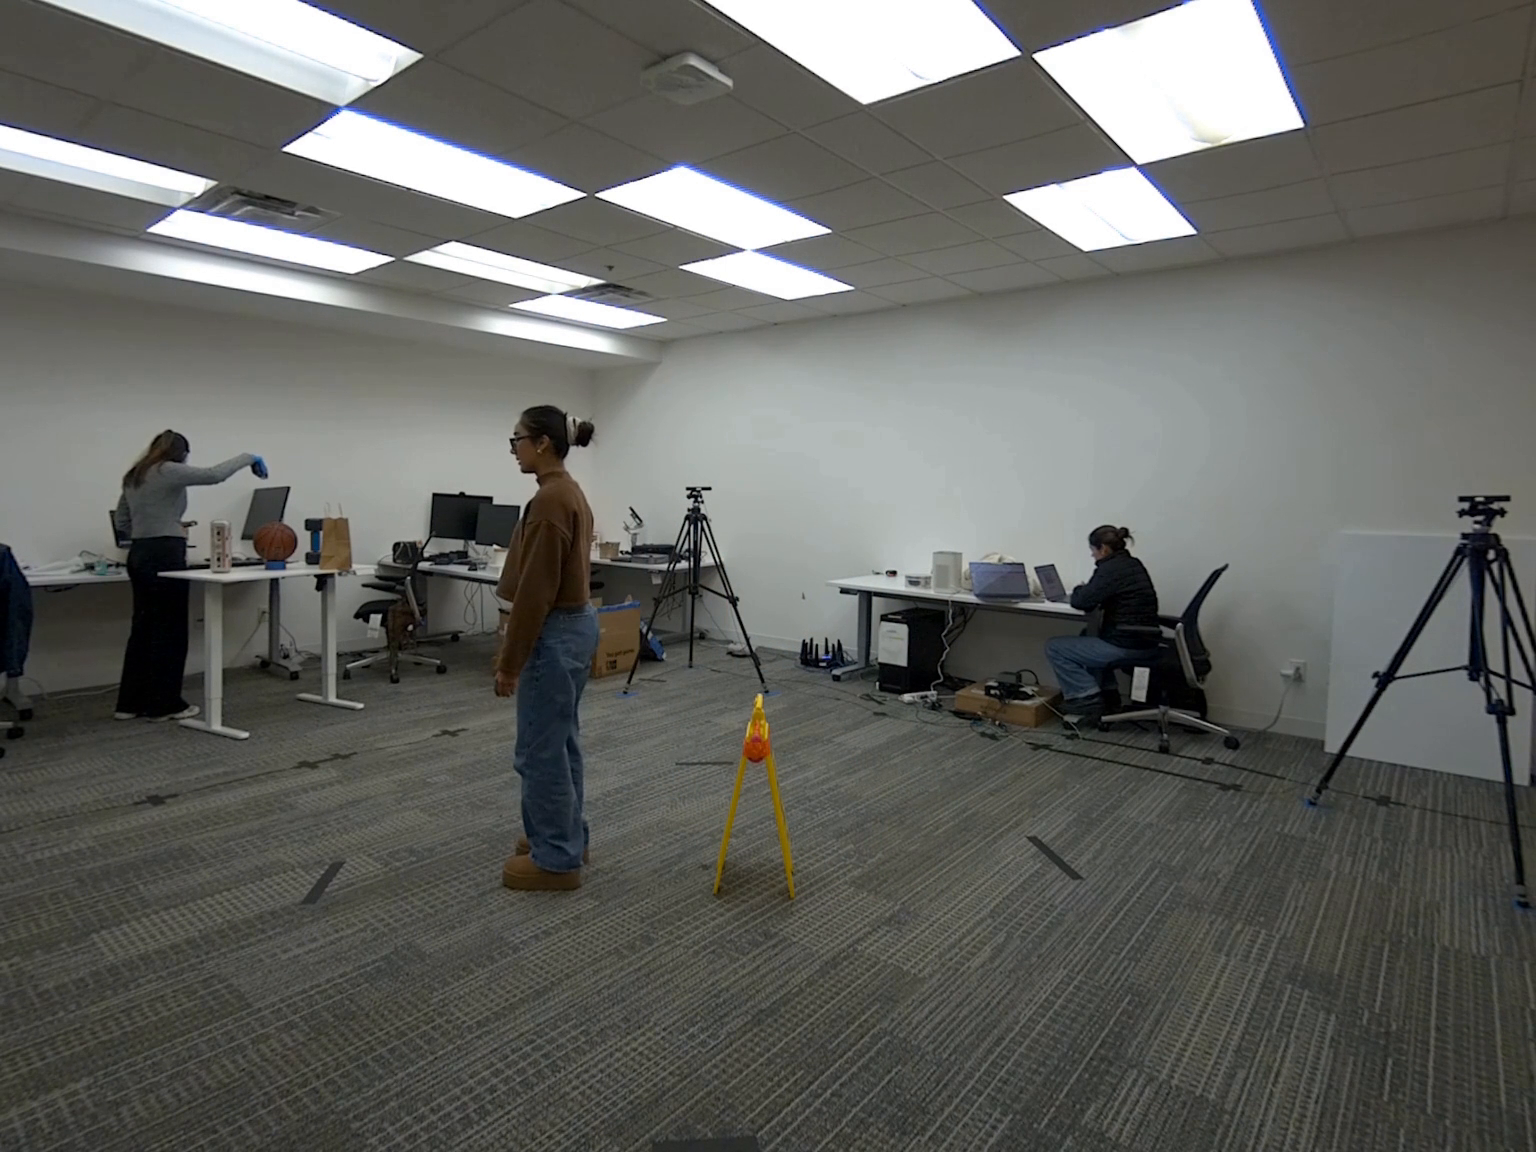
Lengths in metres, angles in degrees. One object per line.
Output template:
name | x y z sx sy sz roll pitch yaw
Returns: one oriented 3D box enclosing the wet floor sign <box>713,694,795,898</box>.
wet floor sign | -0.049 0.762 3.016 0.291 0.644 0.282 2 4 2
